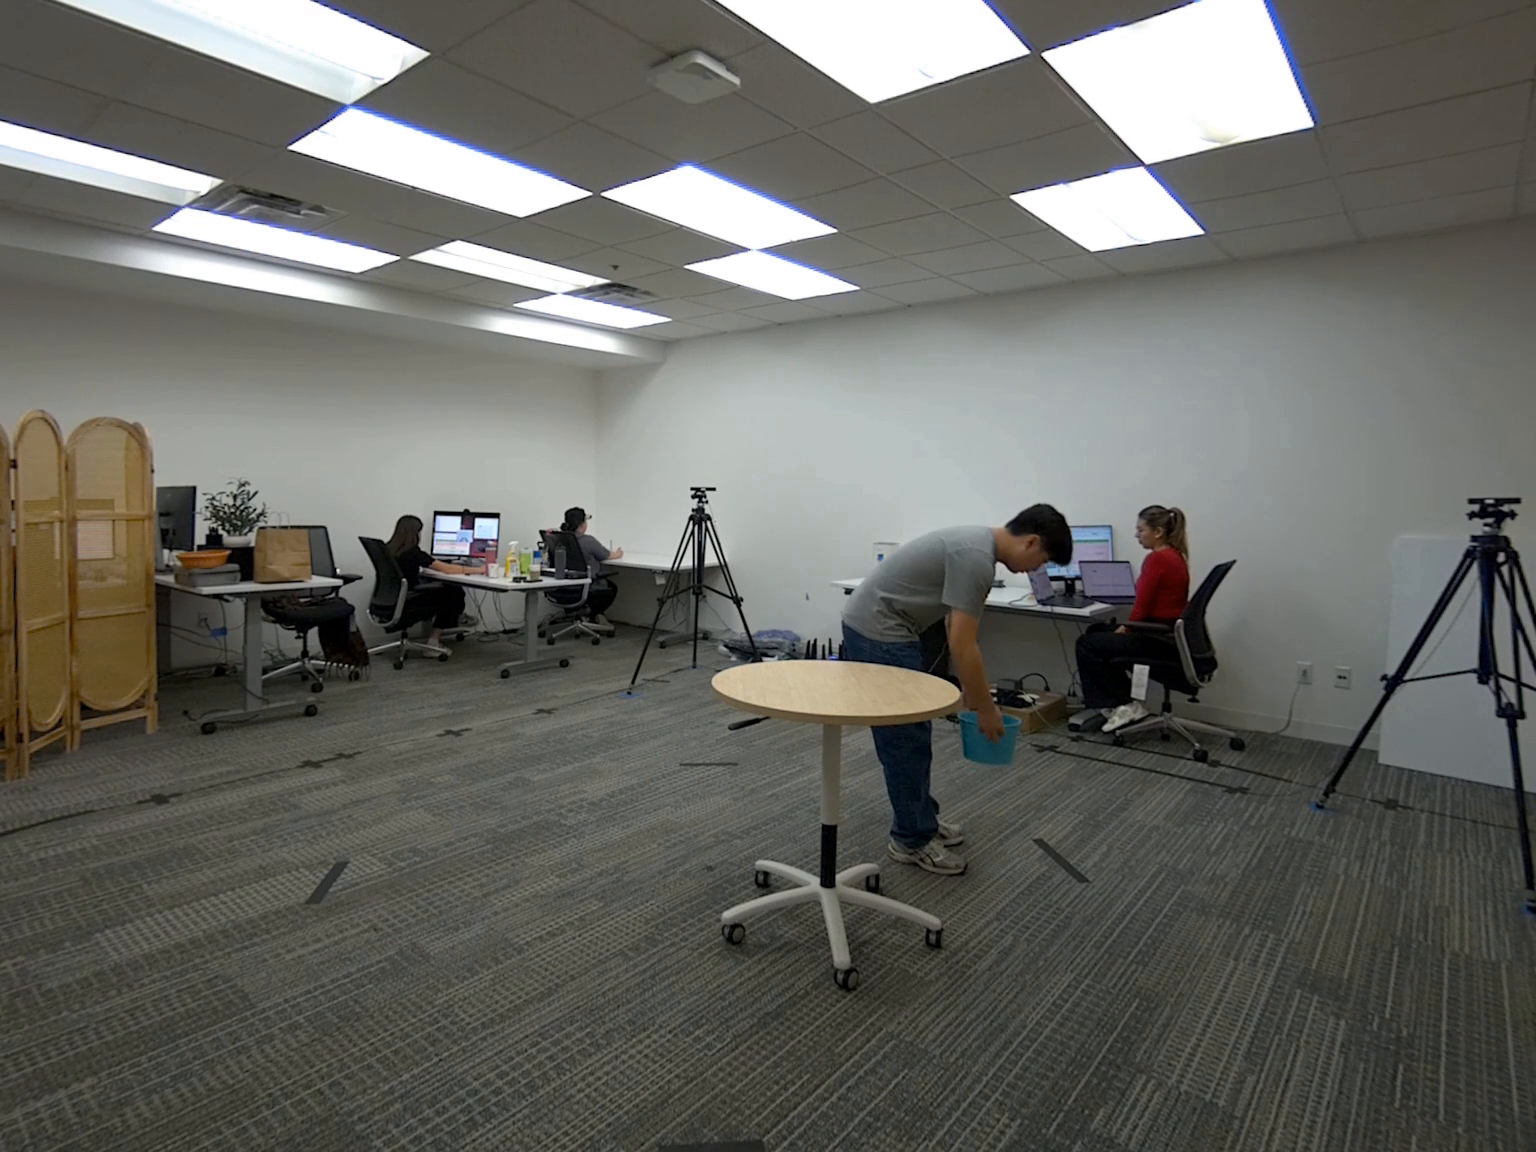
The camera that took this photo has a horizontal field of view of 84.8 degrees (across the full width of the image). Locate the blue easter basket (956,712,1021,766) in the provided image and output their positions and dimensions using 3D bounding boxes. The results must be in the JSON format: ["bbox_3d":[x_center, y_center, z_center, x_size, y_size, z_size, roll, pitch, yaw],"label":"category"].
[{"bbox_3d":[0.826,0.613,3.223,0.243,0.155,0.244,1,3,-2],"label":"blue easter basket"}]
